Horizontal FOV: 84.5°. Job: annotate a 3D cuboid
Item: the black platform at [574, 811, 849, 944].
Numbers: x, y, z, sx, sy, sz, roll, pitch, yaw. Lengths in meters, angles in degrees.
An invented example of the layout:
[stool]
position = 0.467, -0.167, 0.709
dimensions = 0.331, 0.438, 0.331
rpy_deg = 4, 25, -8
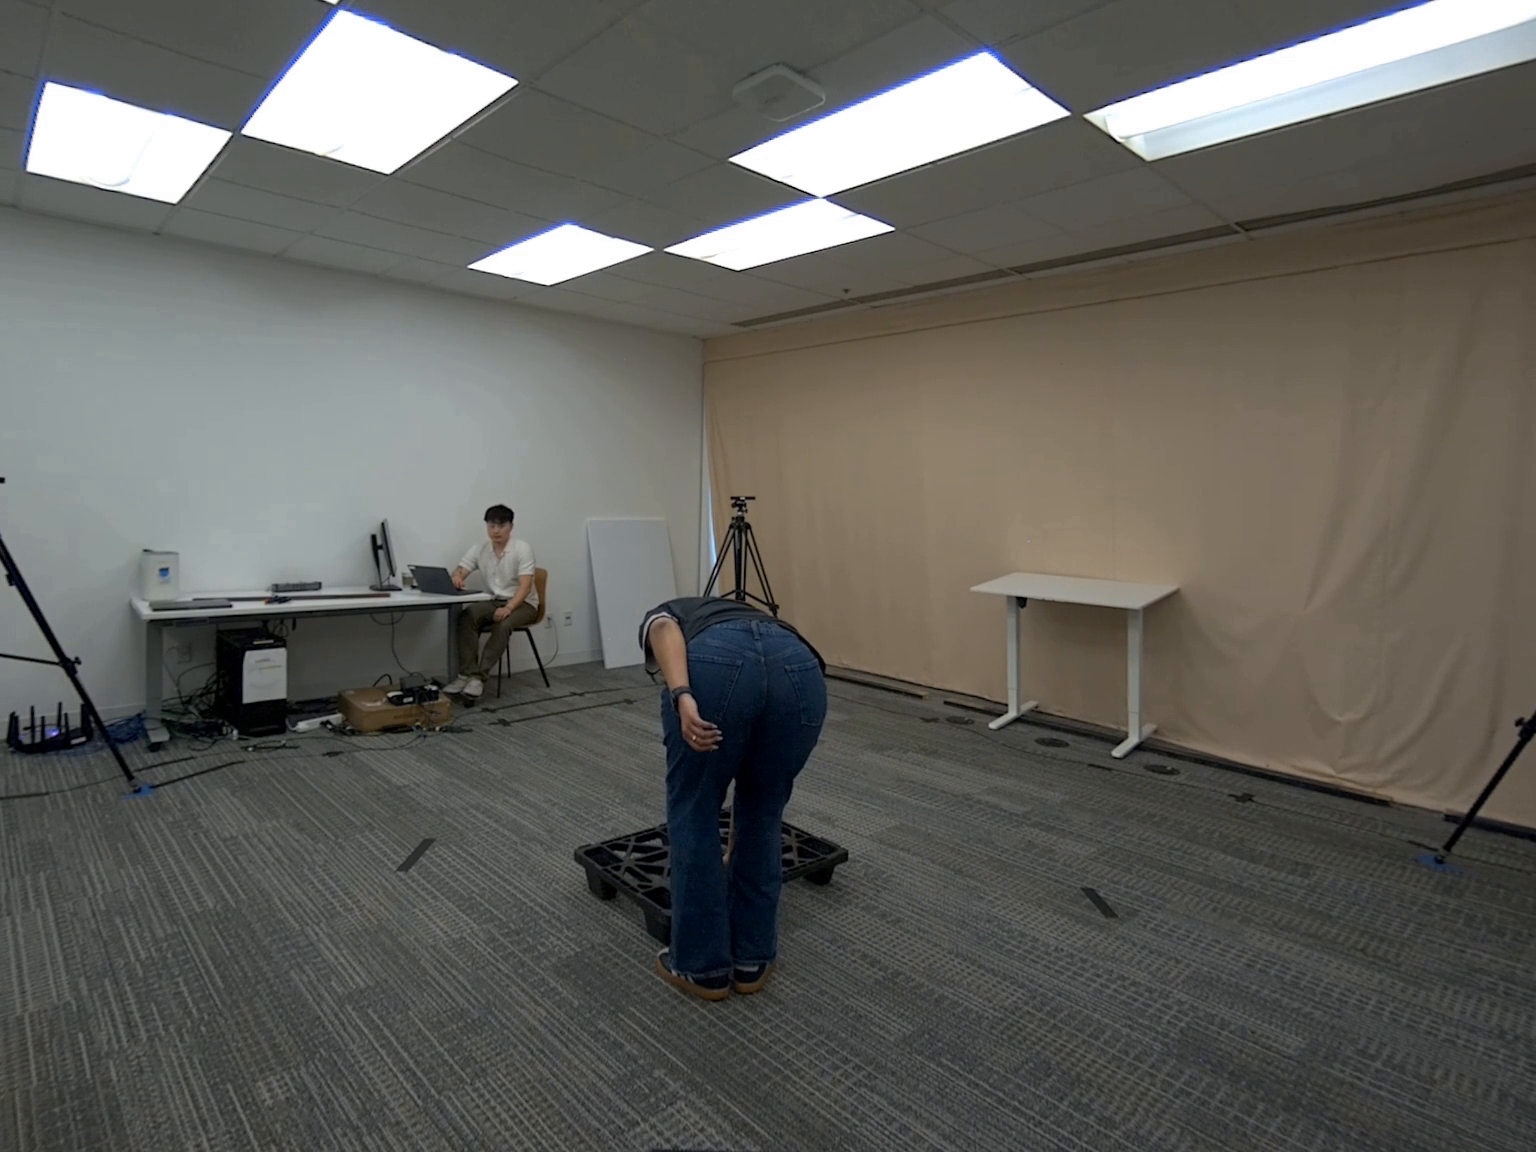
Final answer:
[black platform]
position = -0.211, 1.046, 3.013
dimensions = 0.787, 0.143, 0.620
rpy_deg = -3, 6, -40
